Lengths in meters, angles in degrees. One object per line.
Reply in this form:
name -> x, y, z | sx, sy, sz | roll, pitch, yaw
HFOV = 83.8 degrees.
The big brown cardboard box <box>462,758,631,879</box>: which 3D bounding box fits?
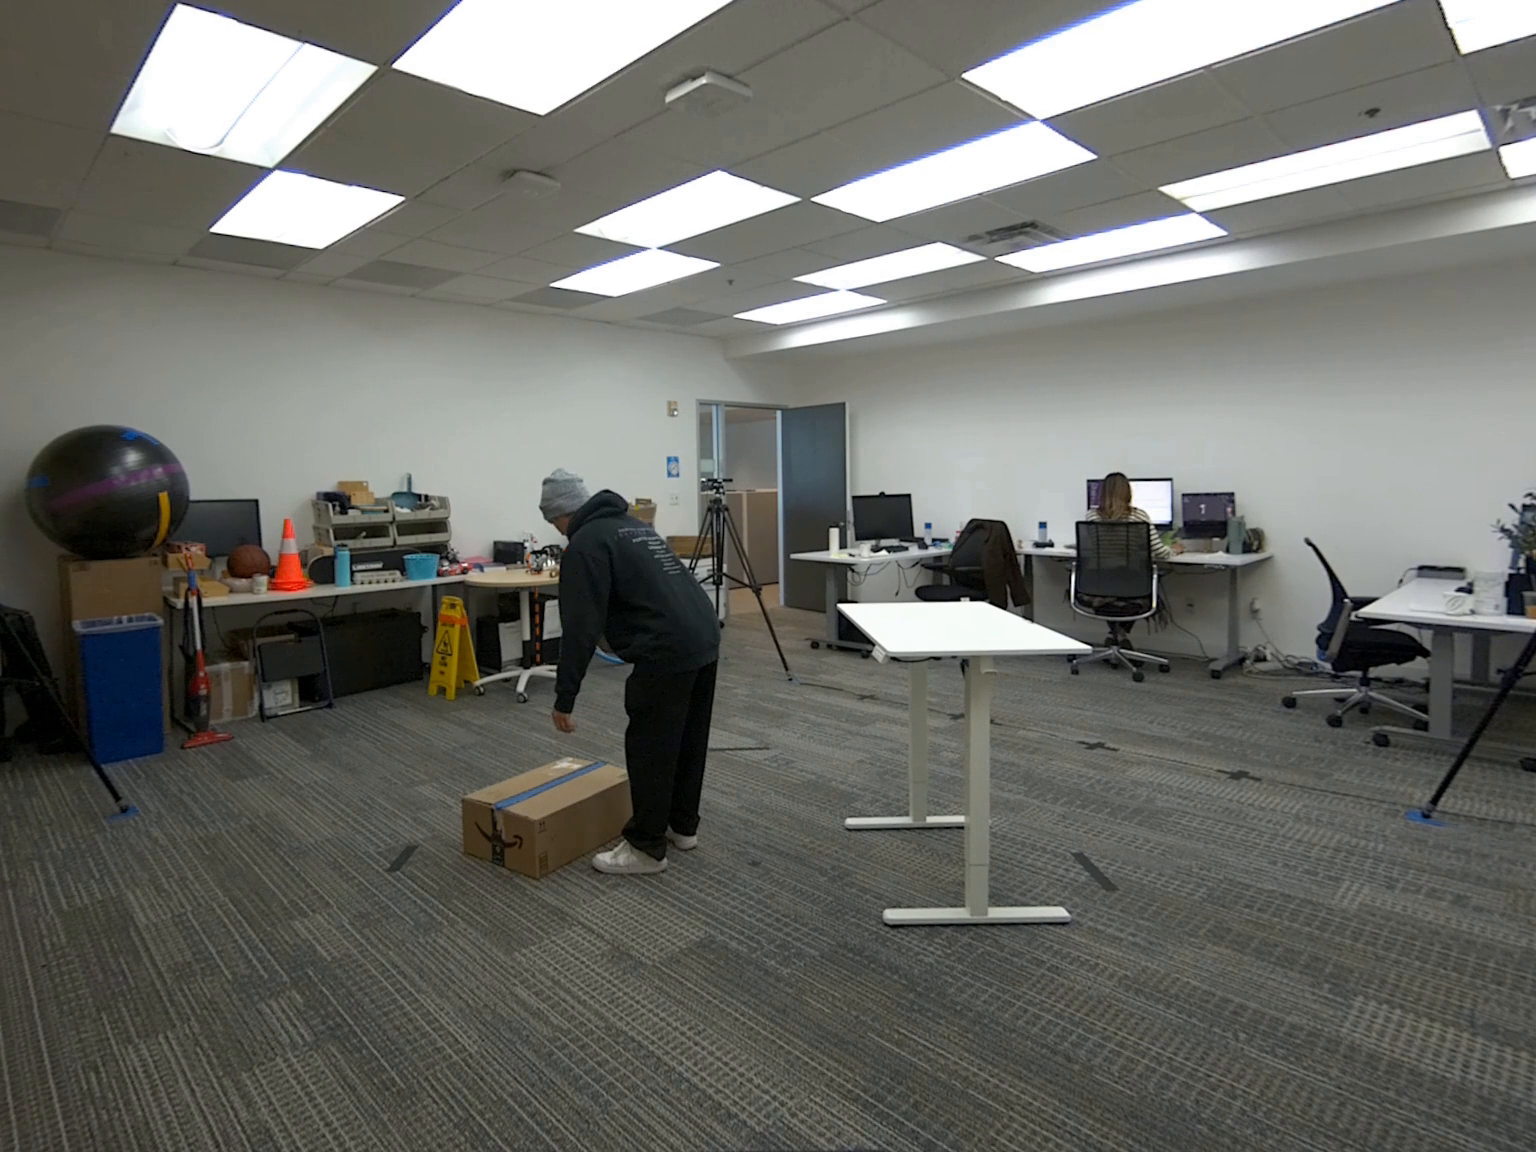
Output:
big brown cardboard box -> -0.835, 0.920, 3.354 | 0.429, 0.232, 0.576 | 2, 7, 33
